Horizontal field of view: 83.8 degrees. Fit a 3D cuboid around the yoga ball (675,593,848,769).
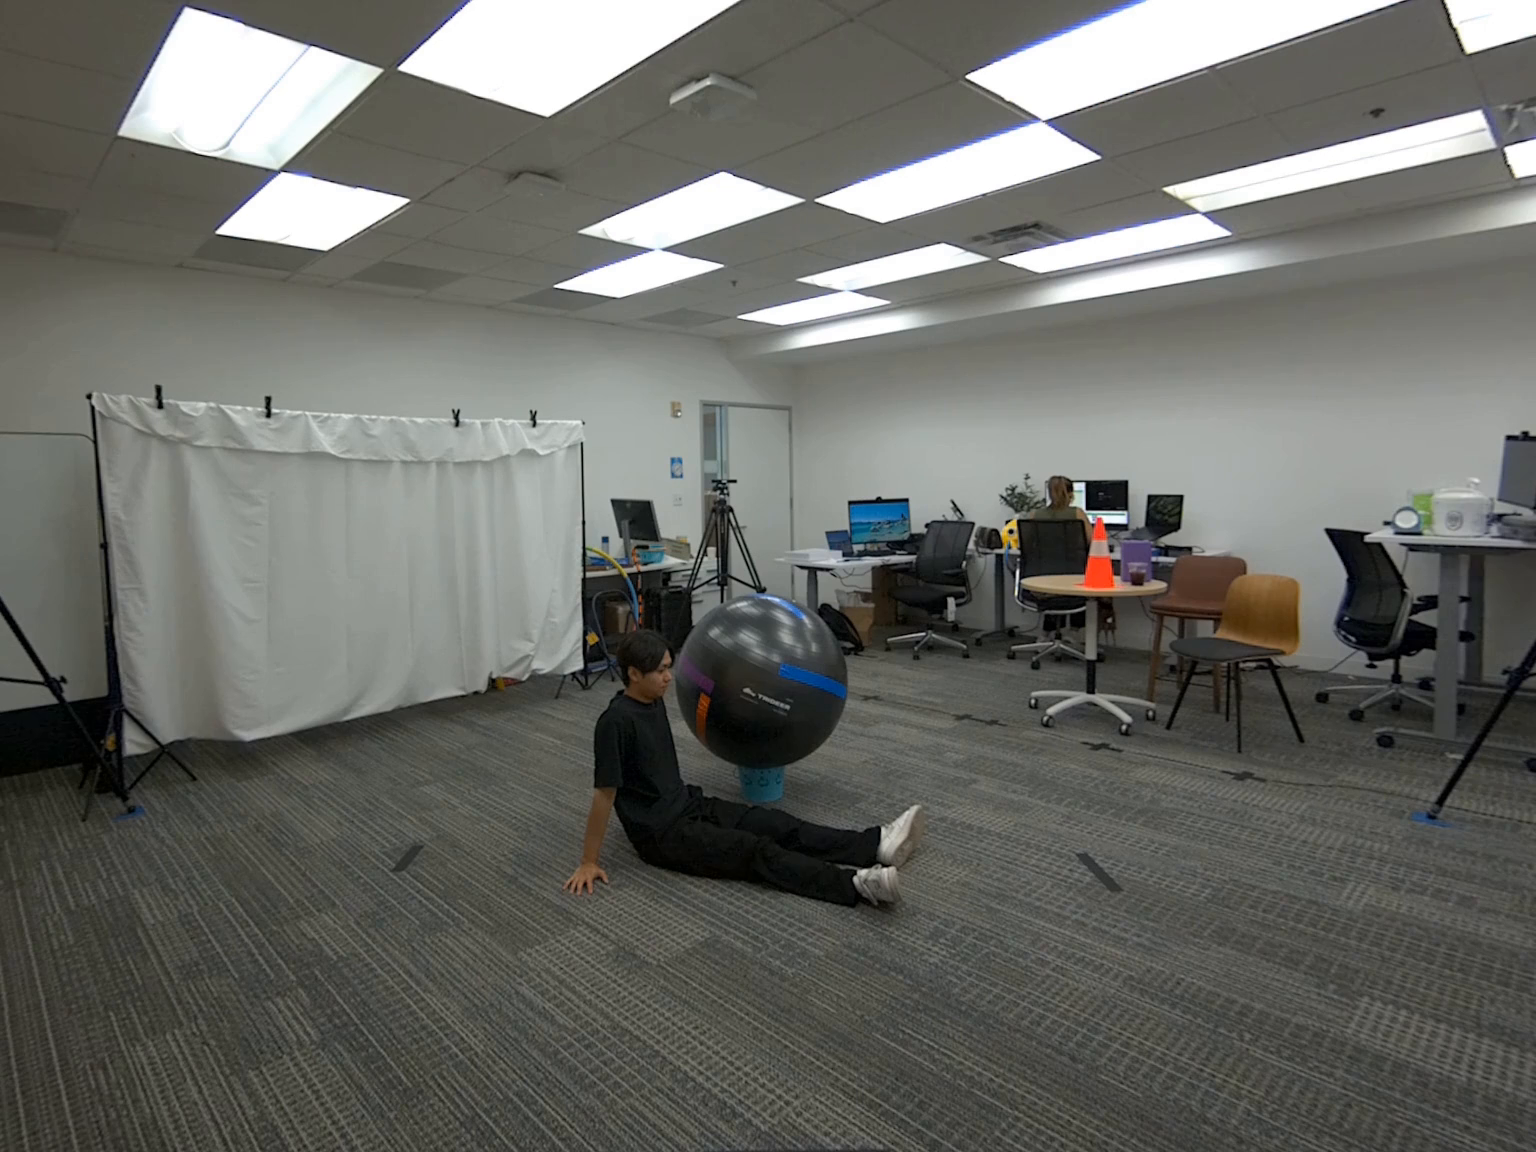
[{"bbox_3d":[-0.028,0.464,3.779,0.757,0.755,0.762,-1,5,-2],"label":"yoga ball"}]
